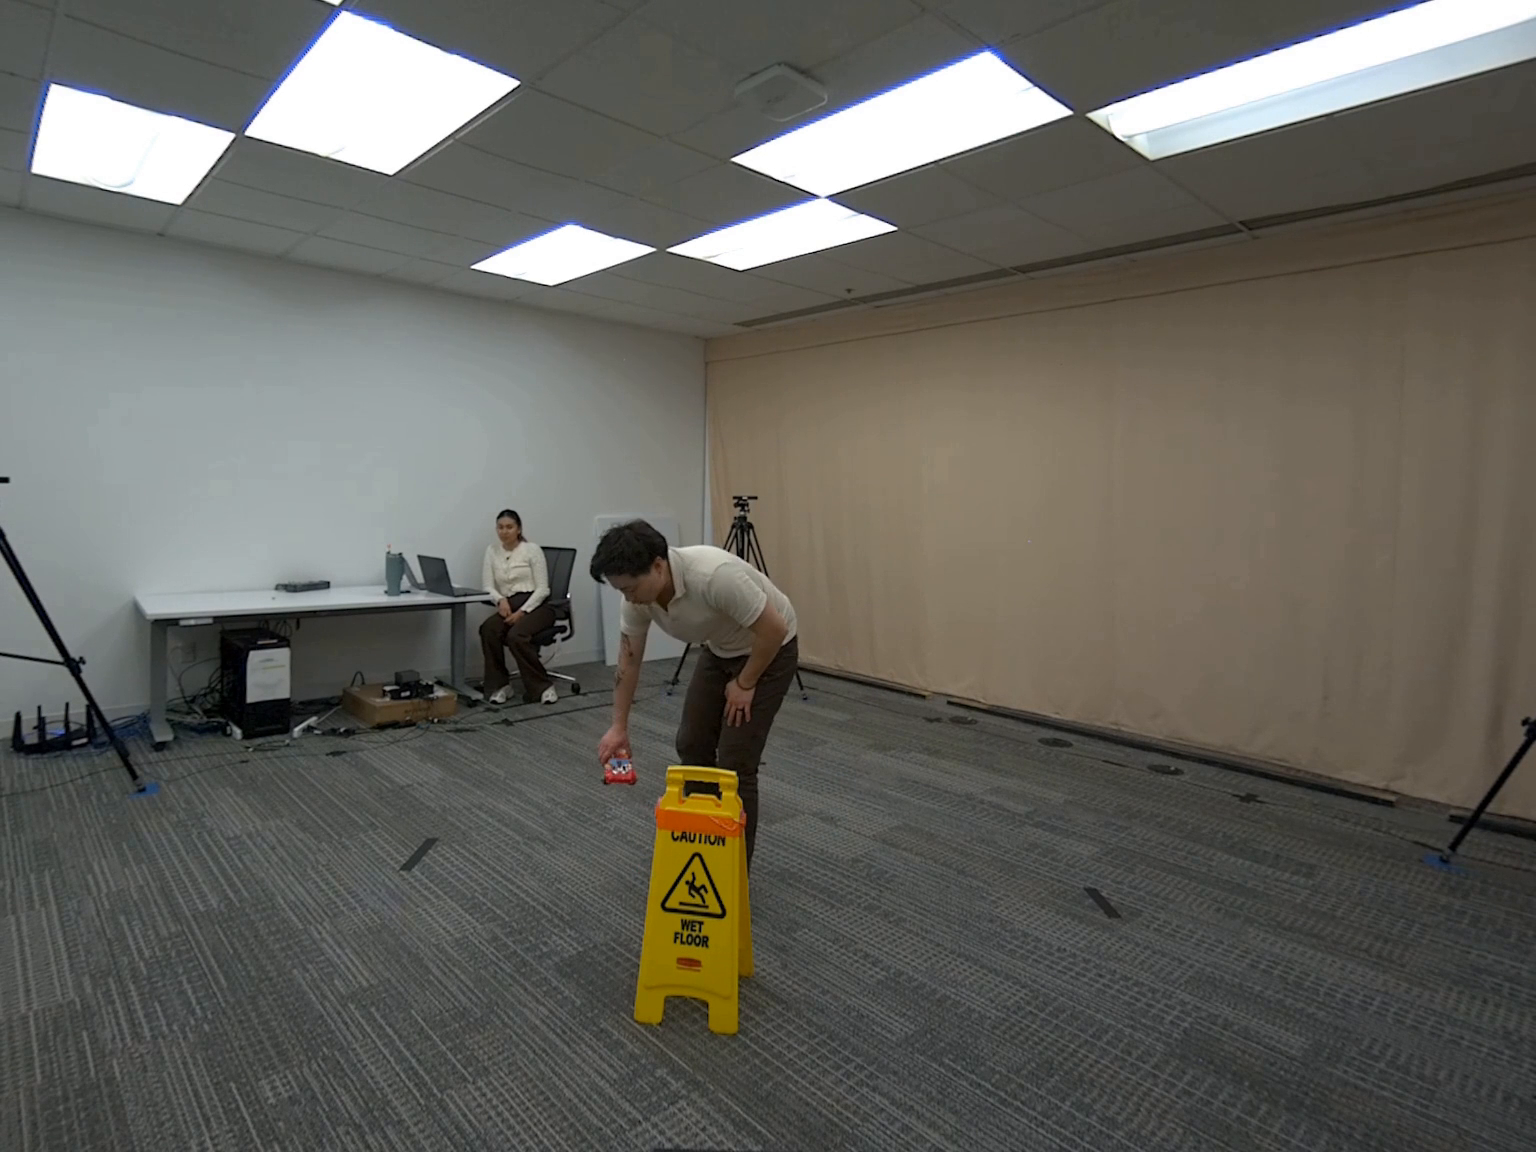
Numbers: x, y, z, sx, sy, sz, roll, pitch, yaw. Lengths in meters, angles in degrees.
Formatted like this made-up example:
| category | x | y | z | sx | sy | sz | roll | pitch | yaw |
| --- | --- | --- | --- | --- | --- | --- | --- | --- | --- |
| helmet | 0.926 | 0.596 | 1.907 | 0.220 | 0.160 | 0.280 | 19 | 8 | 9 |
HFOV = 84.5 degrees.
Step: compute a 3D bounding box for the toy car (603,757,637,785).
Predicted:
| category | x | y | z | sx | sy | sz | roll | pitch | yaw |
| --- | --- | --- | --- | --- | --- | --- | --- | --- | --- |
| toy car | -0.540 | 0.676 | 3.012 | 0.128 | 0.082 | 0.261 | 4 | 28 | -18 |
